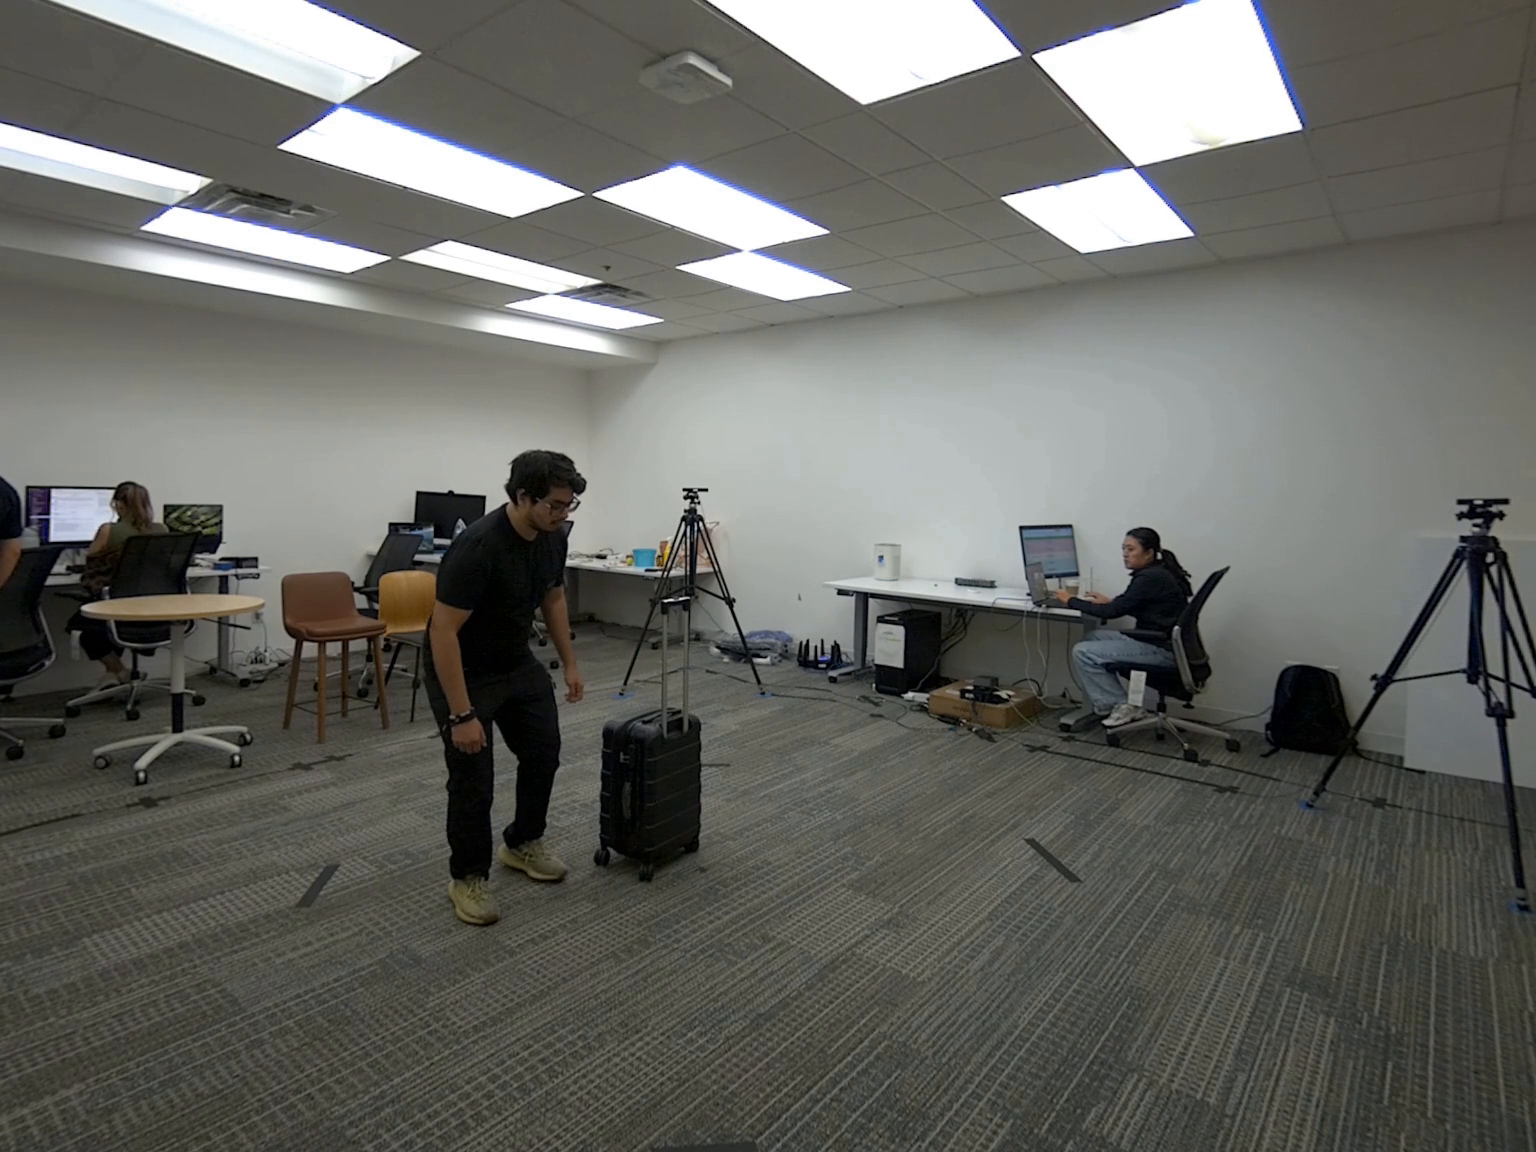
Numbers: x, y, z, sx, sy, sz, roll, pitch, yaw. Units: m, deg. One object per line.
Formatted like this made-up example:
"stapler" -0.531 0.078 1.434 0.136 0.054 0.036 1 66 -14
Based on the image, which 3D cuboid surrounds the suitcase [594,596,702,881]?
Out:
"suitcase" -0.446 0.580 3.204 0.265 0.978 0.373 1 1 32
